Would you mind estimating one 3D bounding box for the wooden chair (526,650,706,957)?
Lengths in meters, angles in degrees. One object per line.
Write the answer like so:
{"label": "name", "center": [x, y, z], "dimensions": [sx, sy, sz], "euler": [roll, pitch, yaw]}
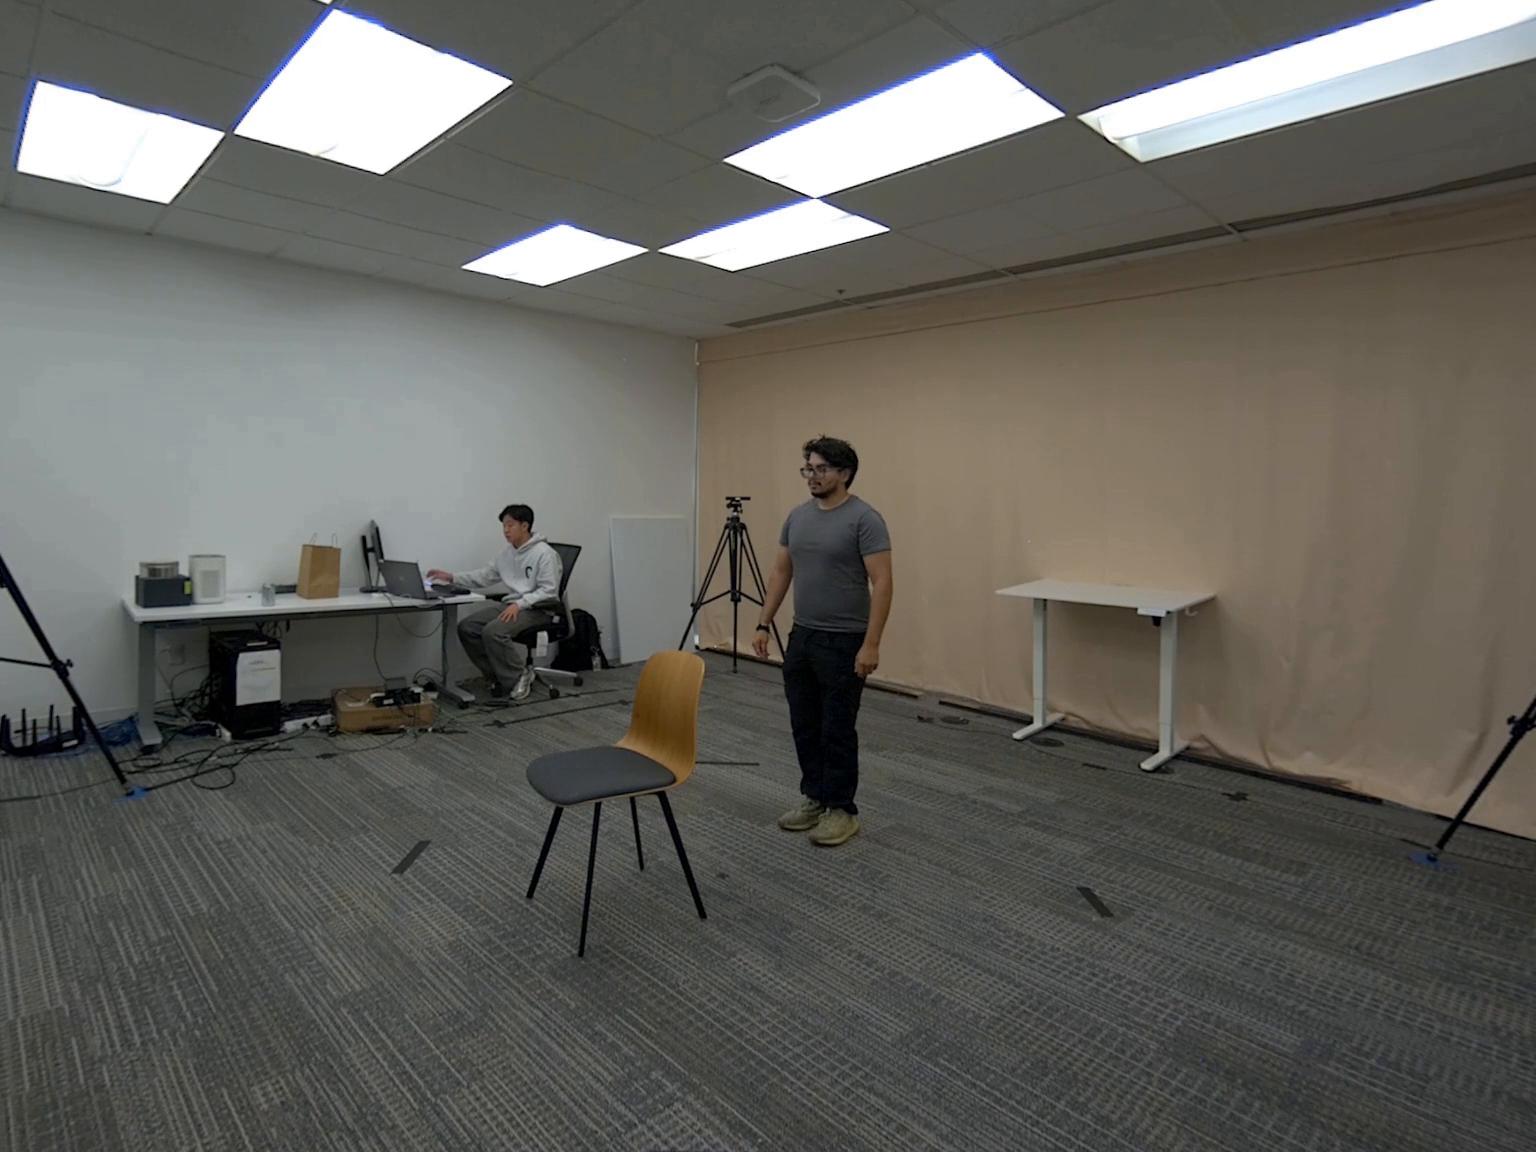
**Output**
{"label": "wooden chair", "center": [-0.519, 0.699, 2.808], "dimensions": [0.511, 0.877, 0.490], "euler": [4, 1, -36]}
